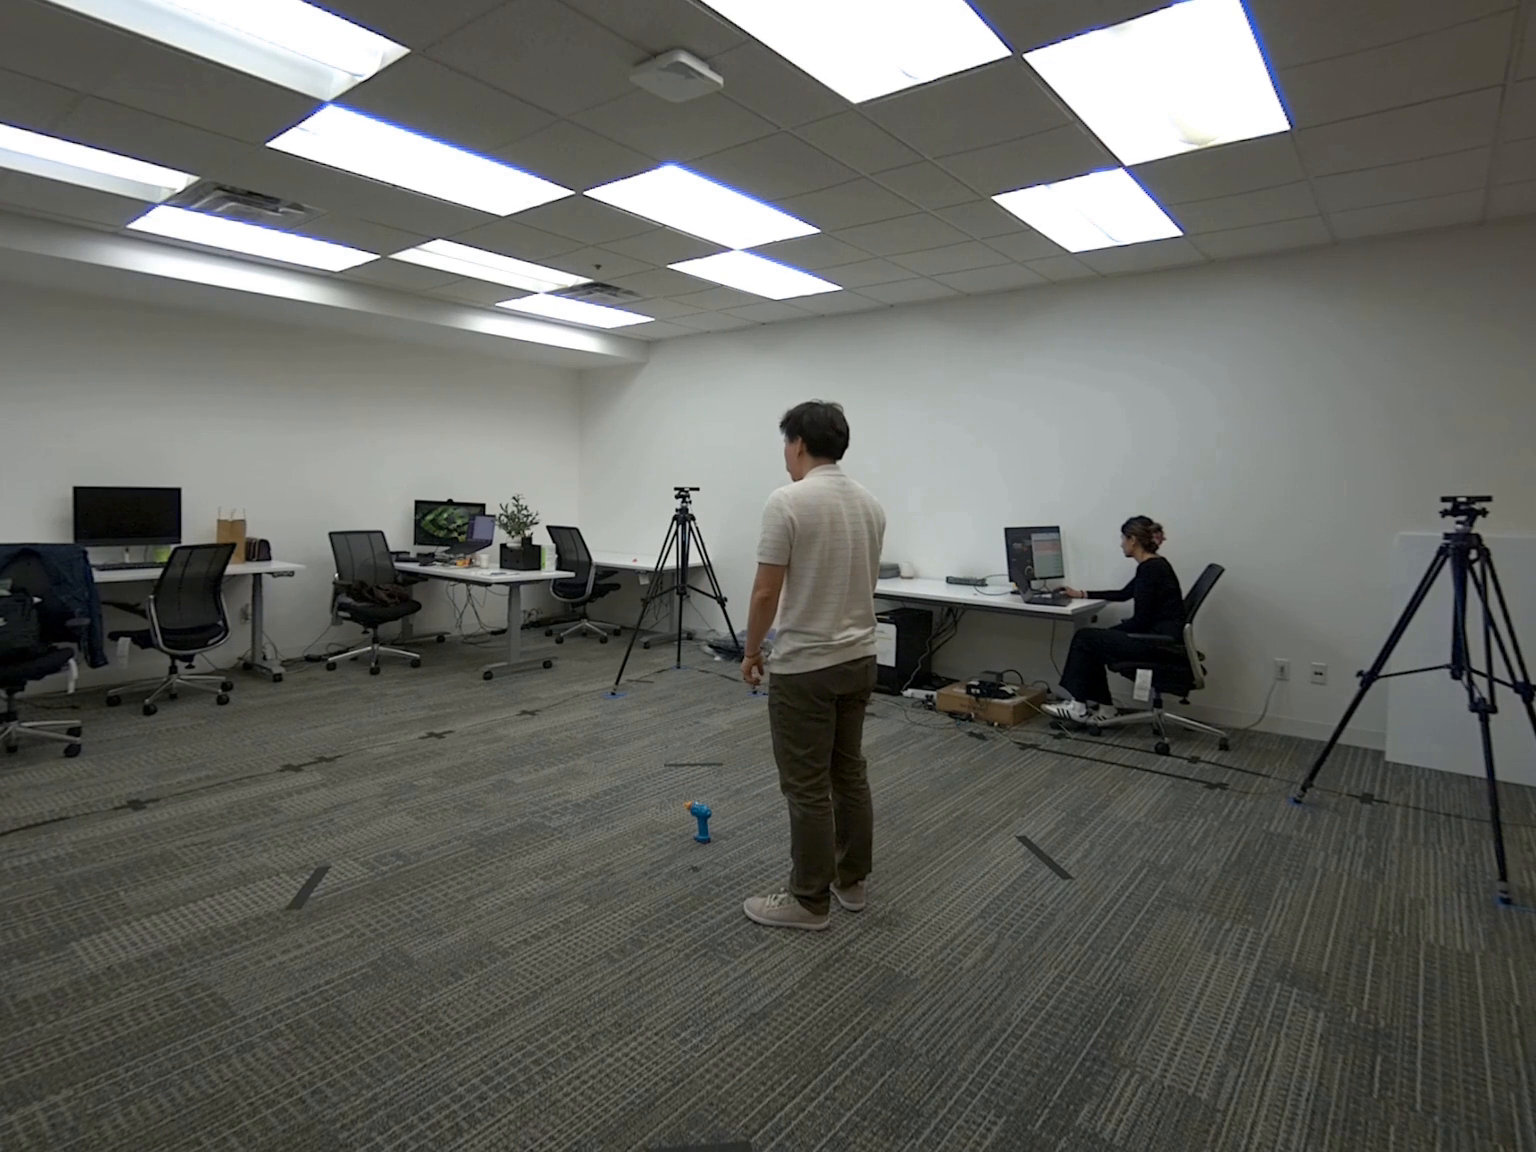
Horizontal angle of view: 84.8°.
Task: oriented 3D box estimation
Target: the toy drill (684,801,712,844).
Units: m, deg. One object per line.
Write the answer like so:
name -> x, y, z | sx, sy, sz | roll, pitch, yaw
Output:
toy drill -> -0.295, 0.964, 3.386 | 0.059, 0.146, 0.175 | -2, 4, -42
